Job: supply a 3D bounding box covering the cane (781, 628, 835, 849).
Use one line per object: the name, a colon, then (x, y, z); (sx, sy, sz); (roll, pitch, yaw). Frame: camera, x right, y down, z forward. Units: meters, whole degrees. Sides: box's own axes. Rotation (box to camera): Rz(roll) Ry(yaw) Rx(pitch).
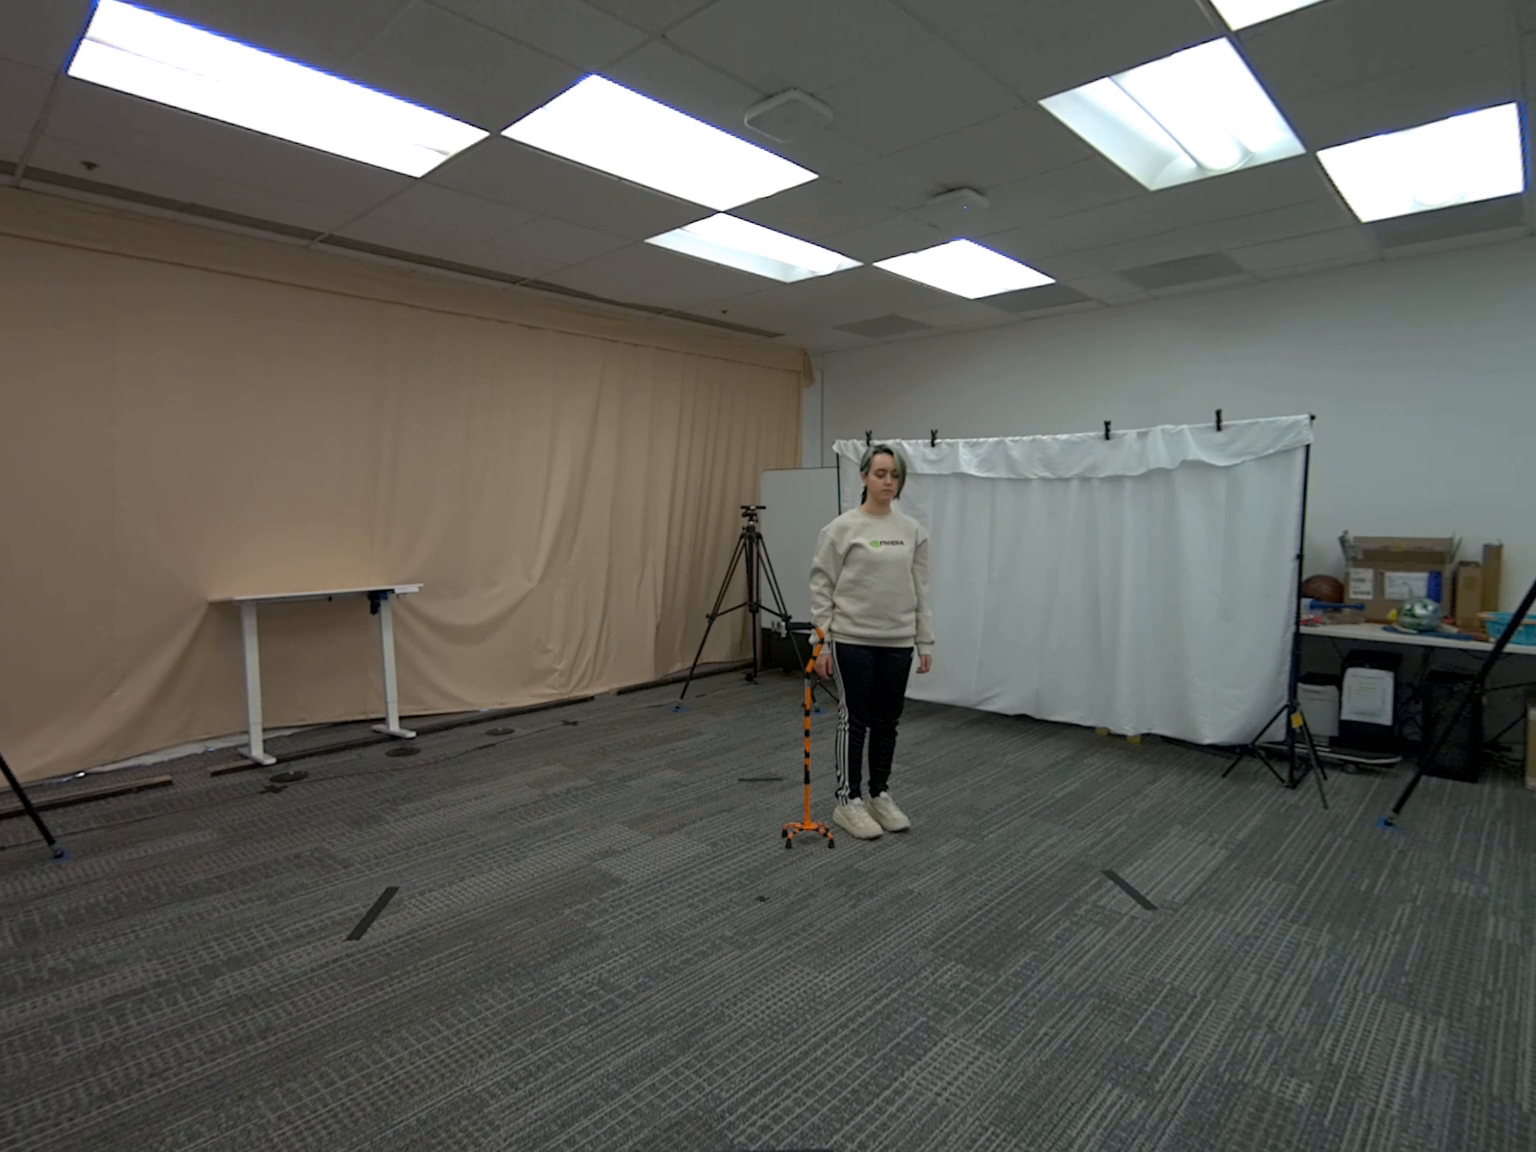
cane: (0.167, 0.651, 3.470); (0.206, 0.907, 0.152); (0, 2, -4)
